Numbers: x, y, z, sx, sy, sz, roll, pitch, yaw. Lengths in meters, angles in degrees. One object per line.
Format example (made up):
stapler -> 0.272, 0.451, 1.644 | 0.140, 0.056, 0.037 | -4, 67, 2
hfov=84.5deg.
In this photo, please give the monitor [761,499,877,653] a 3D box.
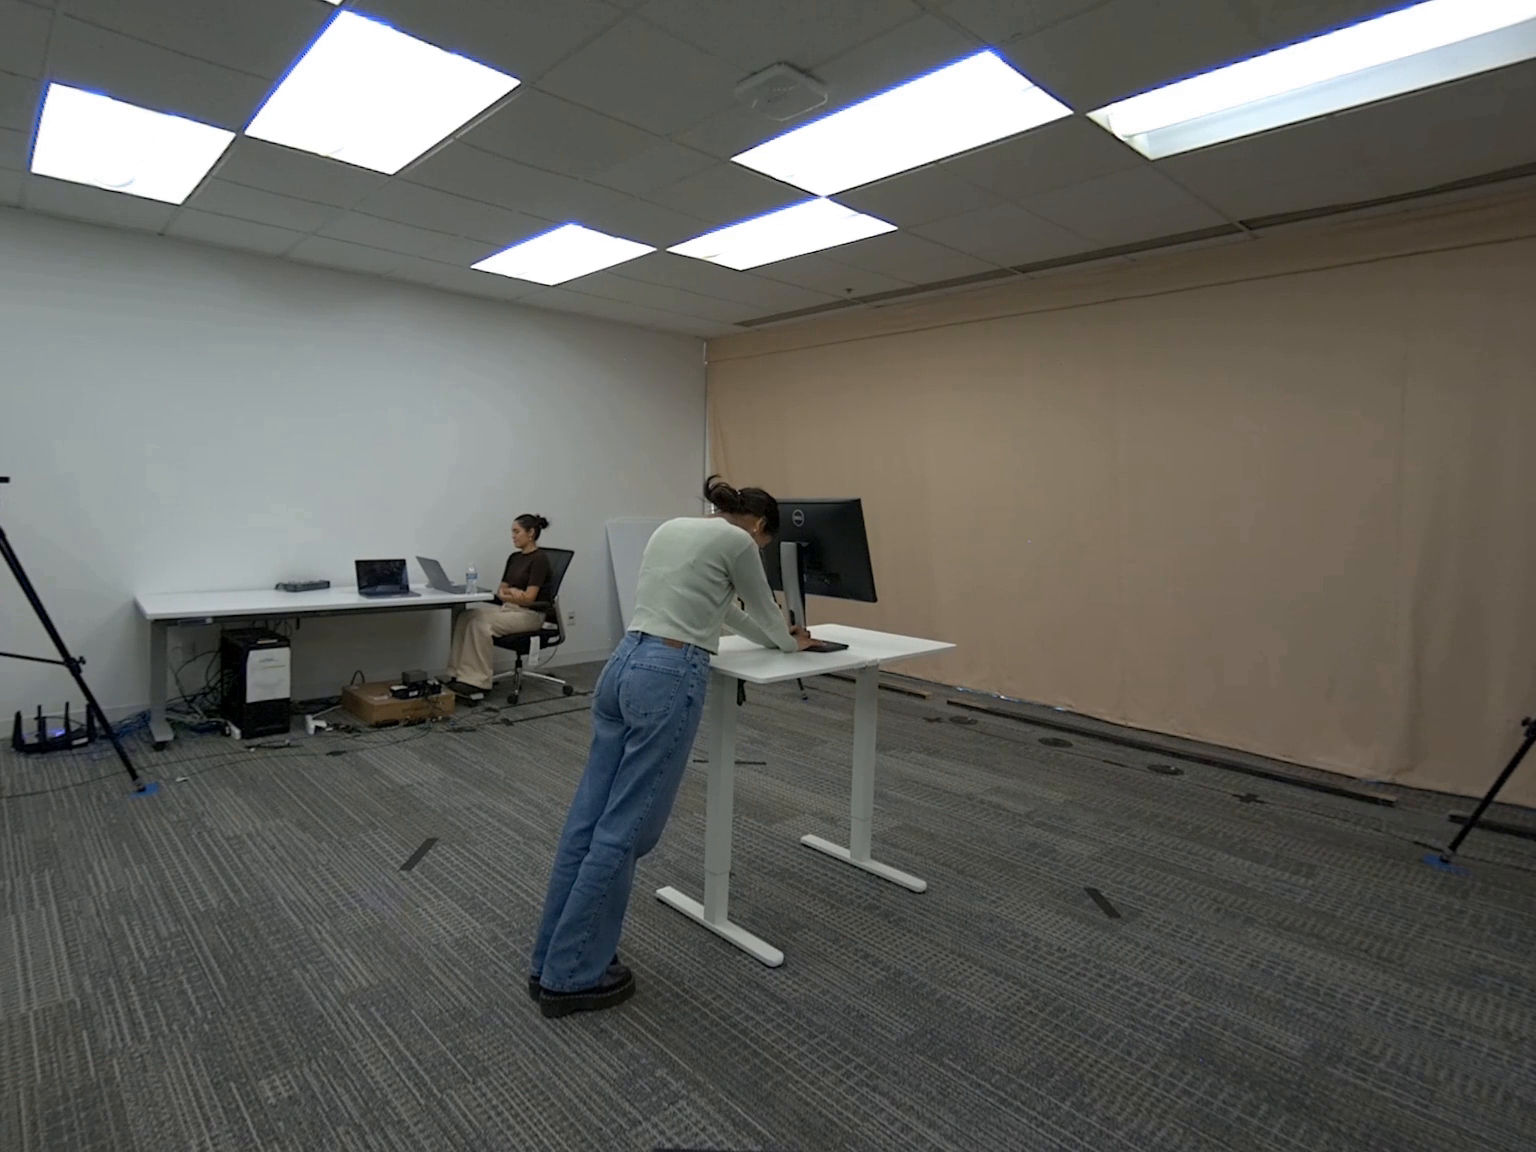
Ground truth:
monitor -> 0.118, -0.008, 2.912 | 0.183, 0.521, 0.553 | -2, 5, -42
